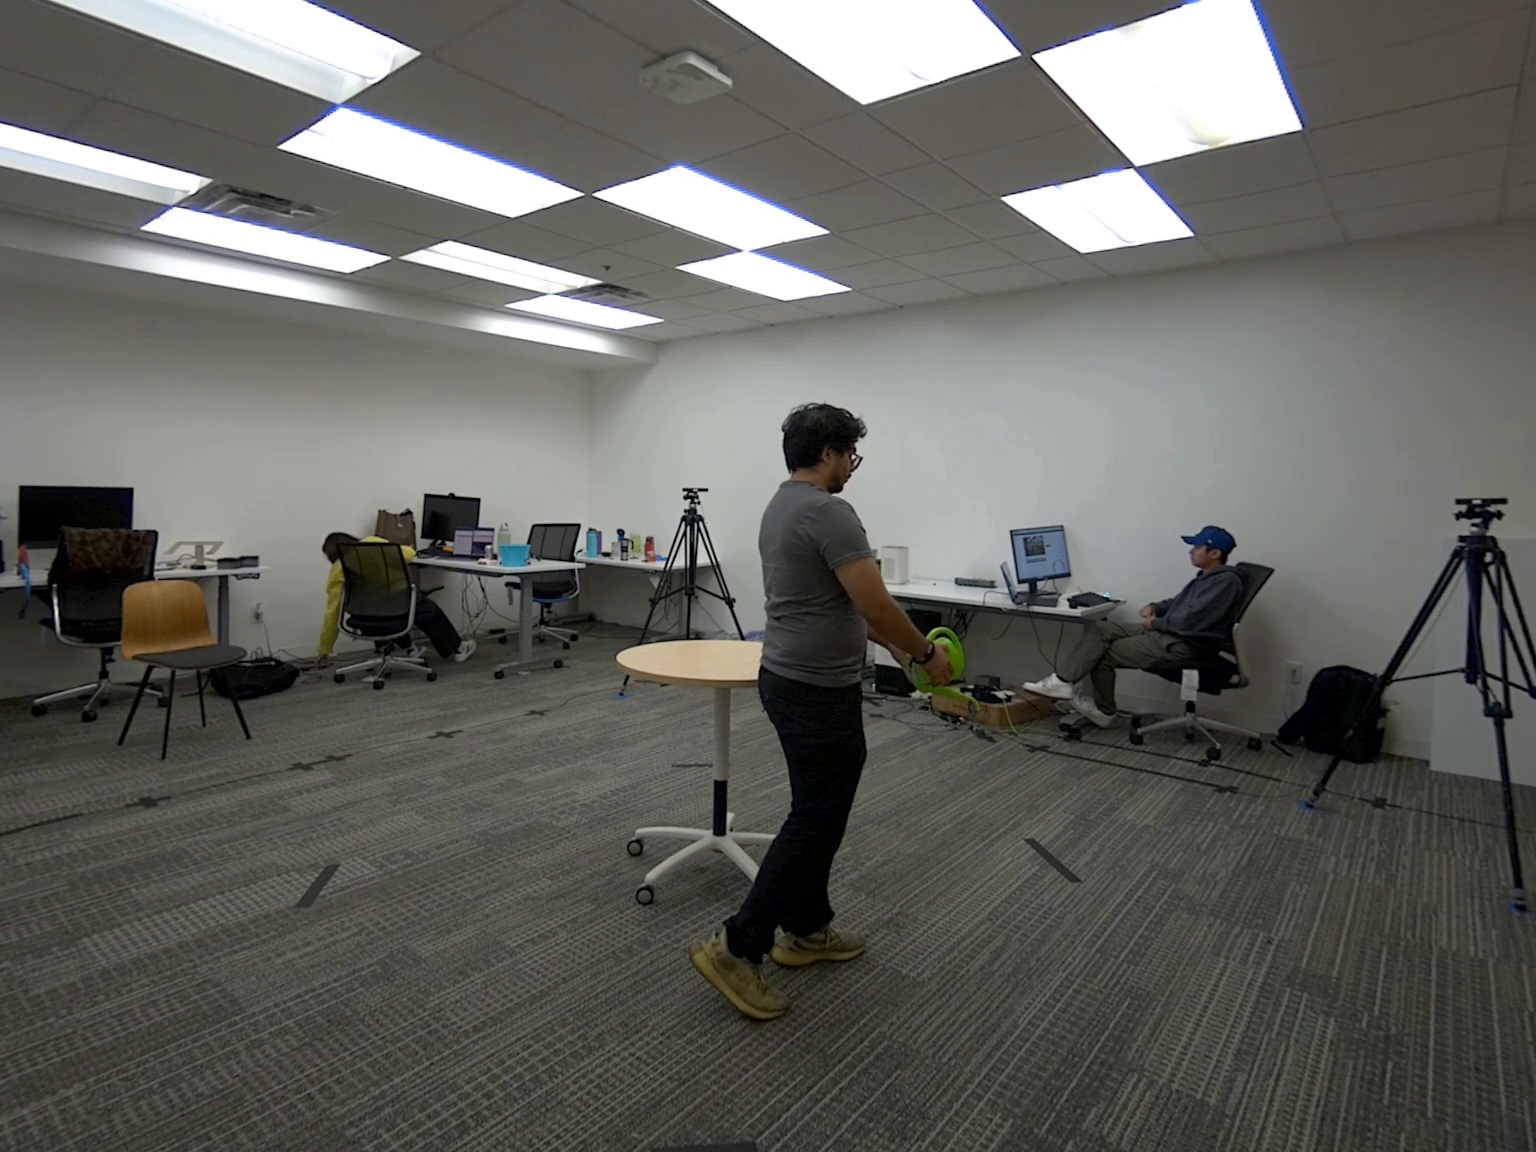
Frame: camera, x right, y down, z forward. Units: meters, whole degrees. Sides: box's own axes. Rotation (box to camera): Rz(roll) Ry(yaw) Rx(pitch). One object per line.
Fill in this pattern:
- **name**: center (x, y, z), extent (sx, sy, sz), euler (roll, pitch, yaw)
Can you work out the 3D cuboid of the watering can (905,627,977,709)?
- **watering can**: center (0.520, 0.300, 2.528), extent (0.175, 0.281, 0.098), euler (-22, -6, -16)
